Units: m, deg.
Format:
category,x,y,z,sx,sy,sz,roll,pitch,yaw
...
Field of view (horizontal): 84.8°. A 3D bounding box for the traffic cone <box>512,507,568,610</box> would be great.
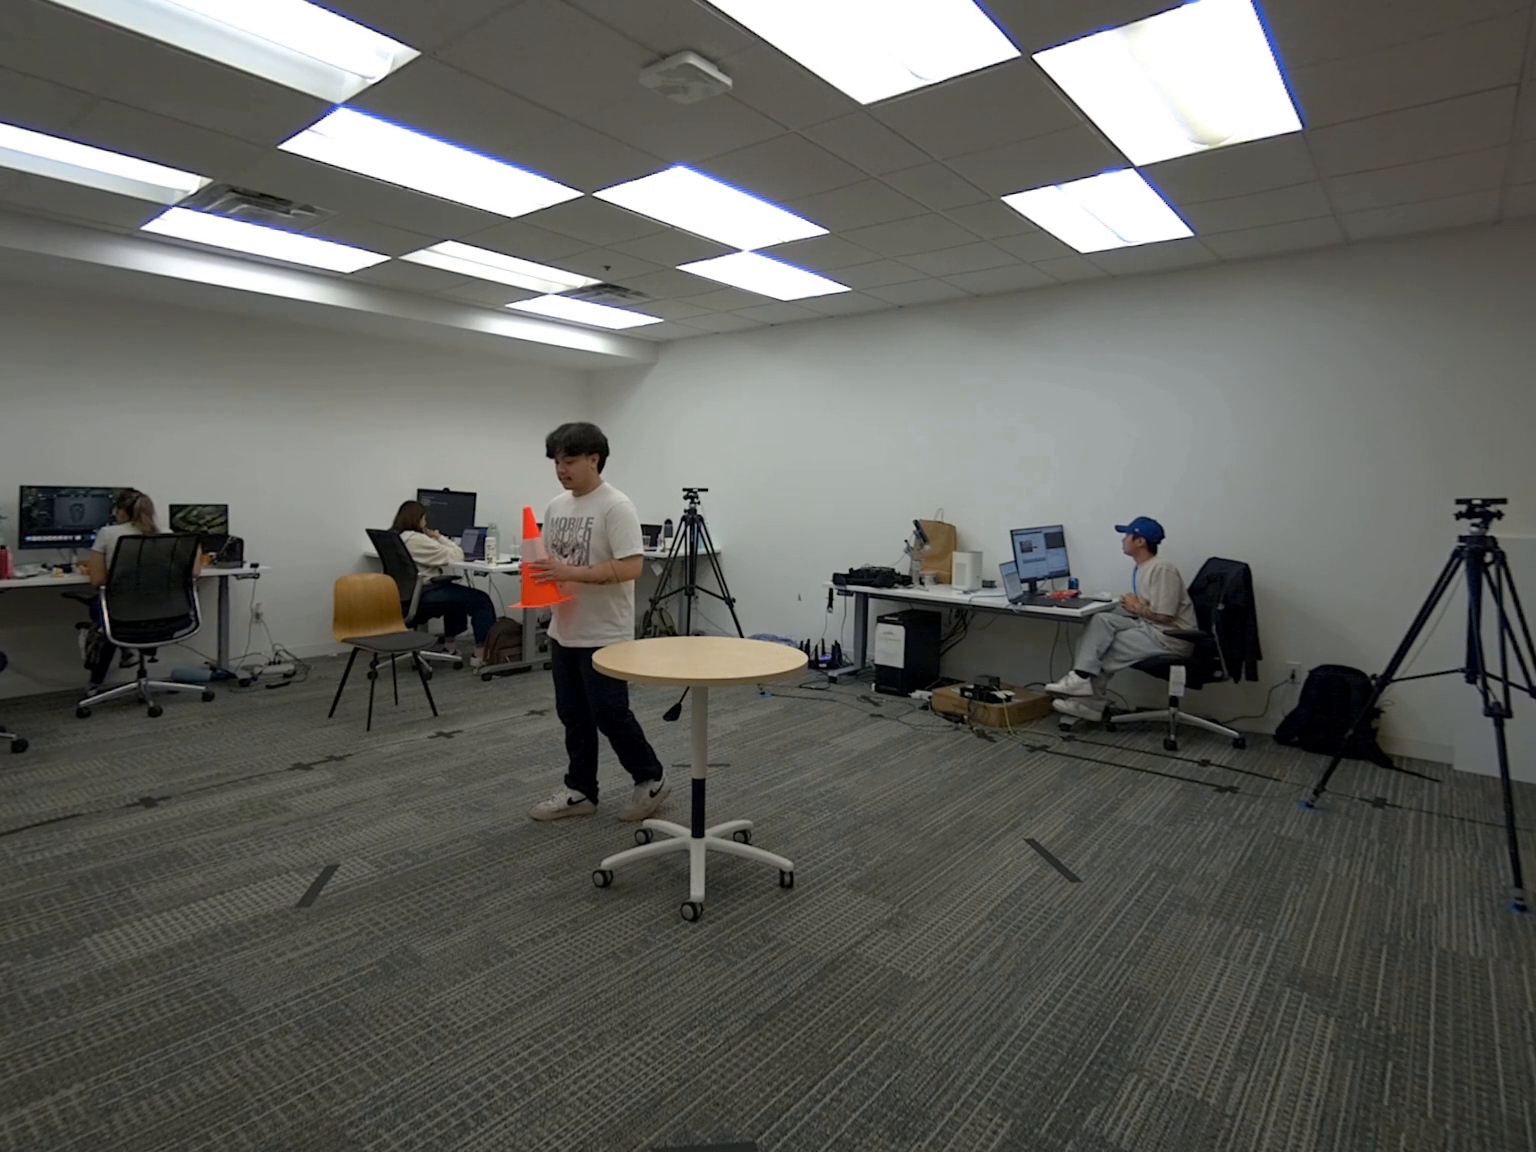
category,x,y,z,sx,sy,sz,roll,pitch,yaw
traffic cone,-0.945,-0.086,3.347,0.209,0.380,0.201,-1,10,36
